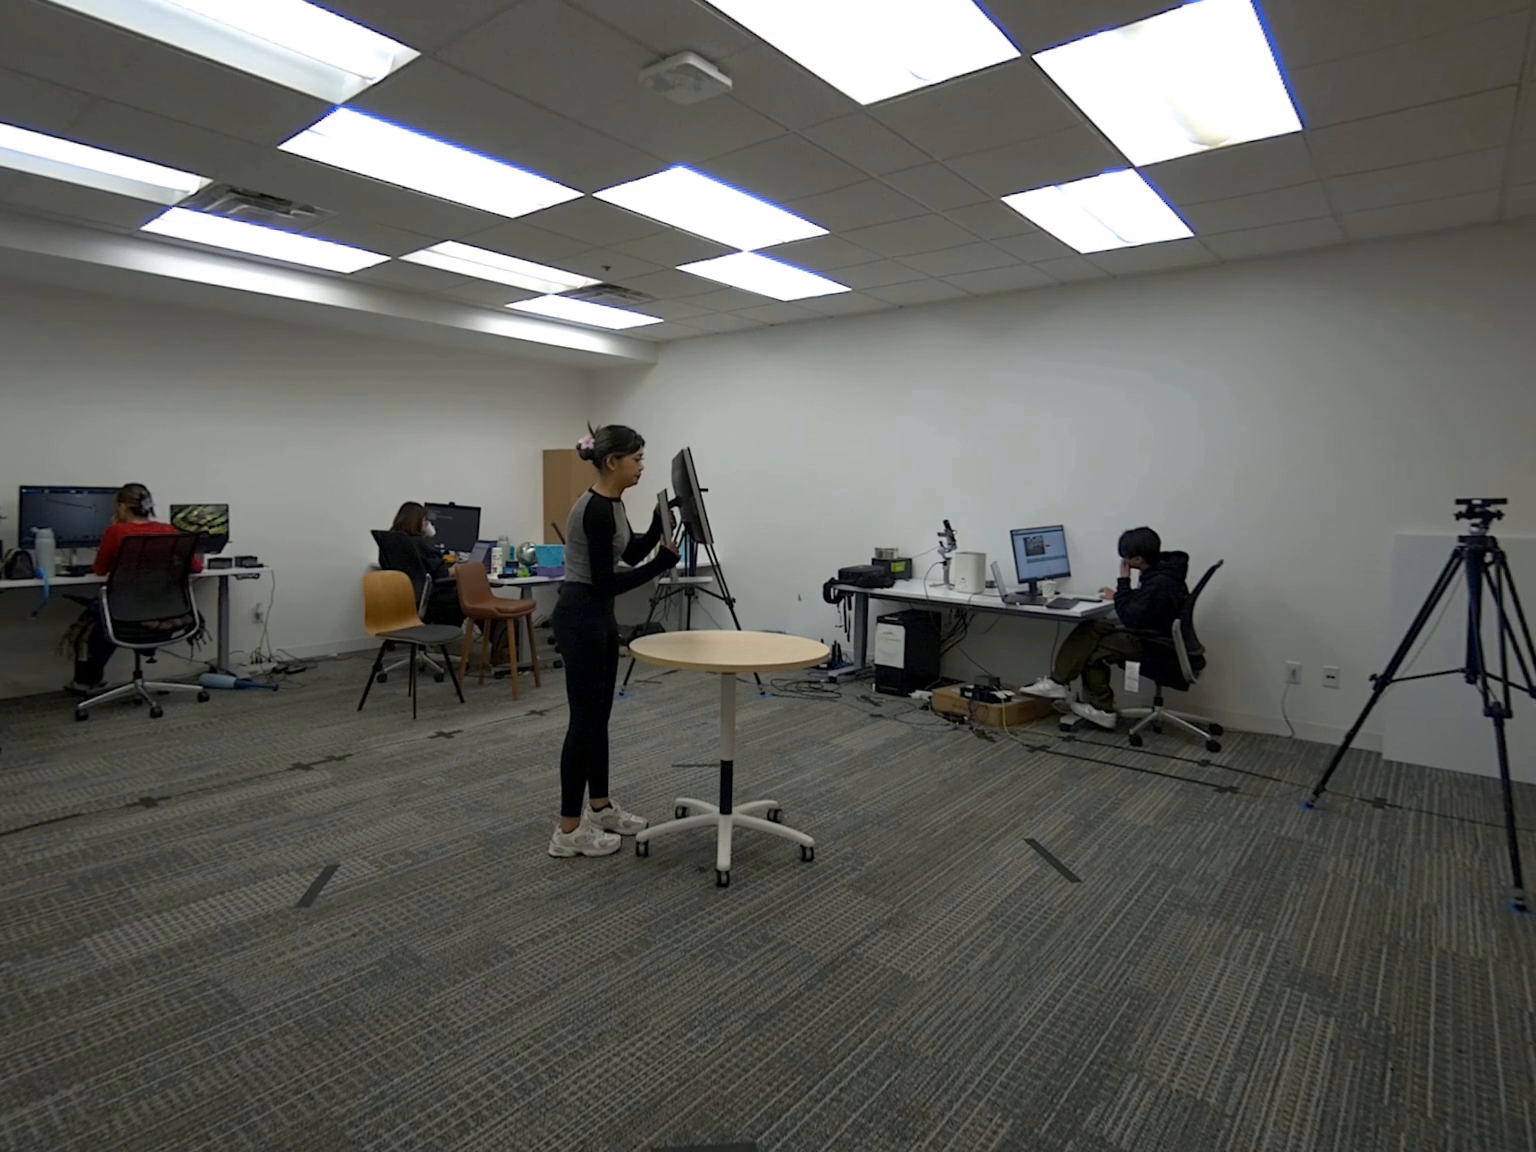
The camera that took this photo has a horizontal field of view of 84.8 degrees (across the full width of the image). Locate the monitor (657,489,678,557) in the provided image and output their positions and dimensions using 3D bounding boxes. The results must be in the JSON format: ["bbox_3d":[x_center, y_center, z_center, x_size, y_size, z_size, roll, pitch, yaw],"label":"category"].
[{"bbox_3d":[-0.346,-0.216,3.324,0.185,0.522,0.545,-3,2,-11],"label":"monitor"}]
